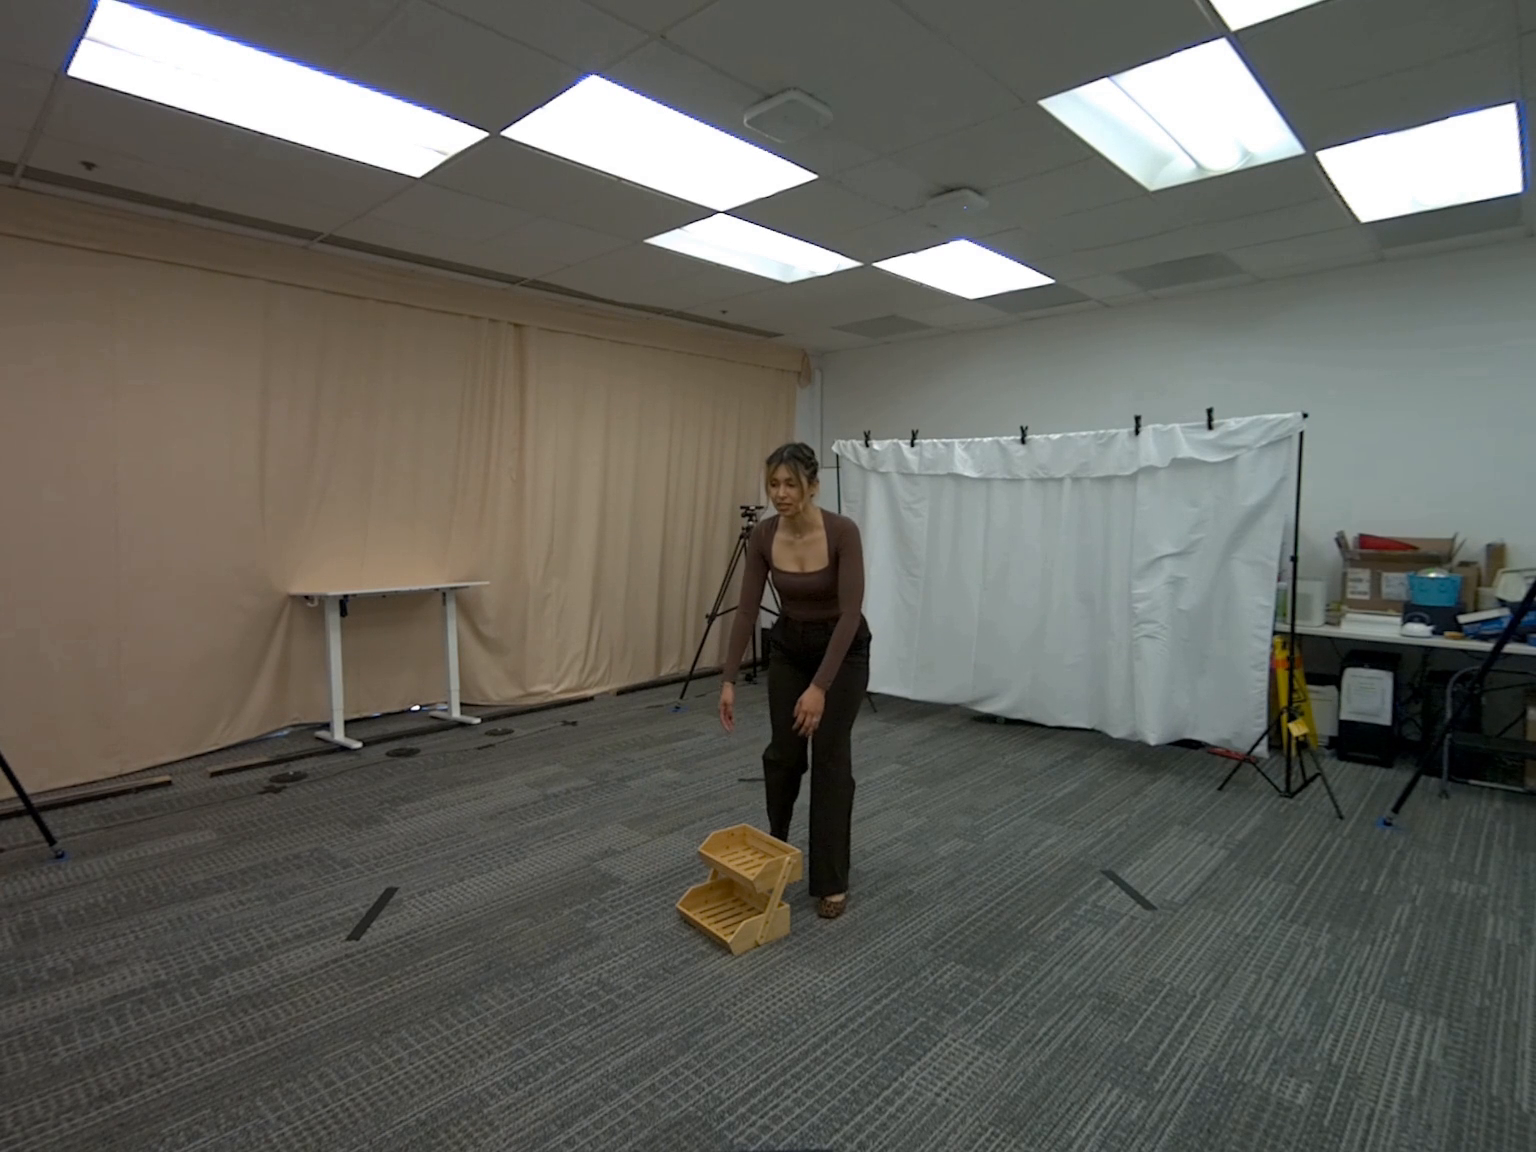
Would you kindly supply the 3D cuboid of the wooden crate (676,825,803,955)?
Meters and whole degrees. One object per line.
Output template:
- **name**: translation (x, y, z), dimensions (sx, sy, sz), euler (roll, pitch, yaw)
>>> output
- **wooden crate**: translation (-0.096, 1.026, 2.799), dimensions (0.293, 0.273, 0.335), euler (-2, 5, -39)
